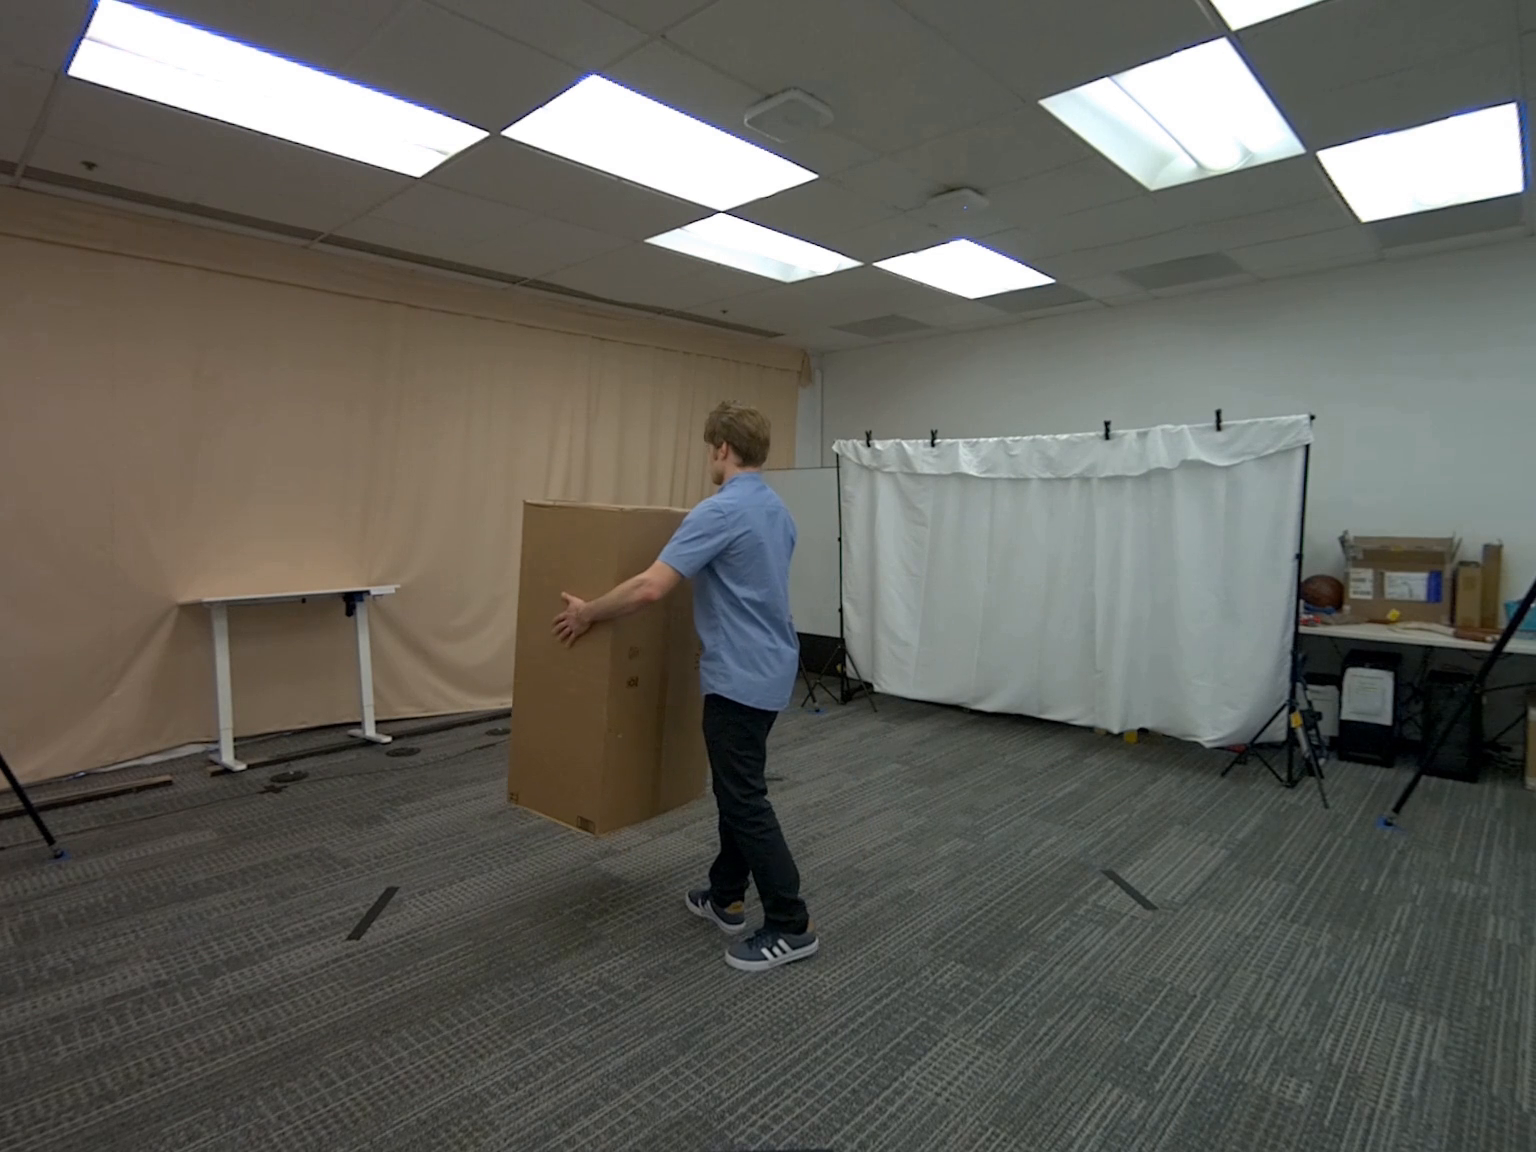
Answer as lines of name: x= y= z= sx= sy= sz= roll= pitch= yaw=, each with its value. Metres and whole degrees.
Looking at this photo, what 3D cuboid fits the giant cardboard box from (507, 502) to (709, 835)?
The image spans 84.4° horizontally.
giant cardboard box: x=-0.510 y=0.273 z=2.897 sx=0.440 sy=1.024 sz=0.560 roll=7 pitch=5 yaw=34
